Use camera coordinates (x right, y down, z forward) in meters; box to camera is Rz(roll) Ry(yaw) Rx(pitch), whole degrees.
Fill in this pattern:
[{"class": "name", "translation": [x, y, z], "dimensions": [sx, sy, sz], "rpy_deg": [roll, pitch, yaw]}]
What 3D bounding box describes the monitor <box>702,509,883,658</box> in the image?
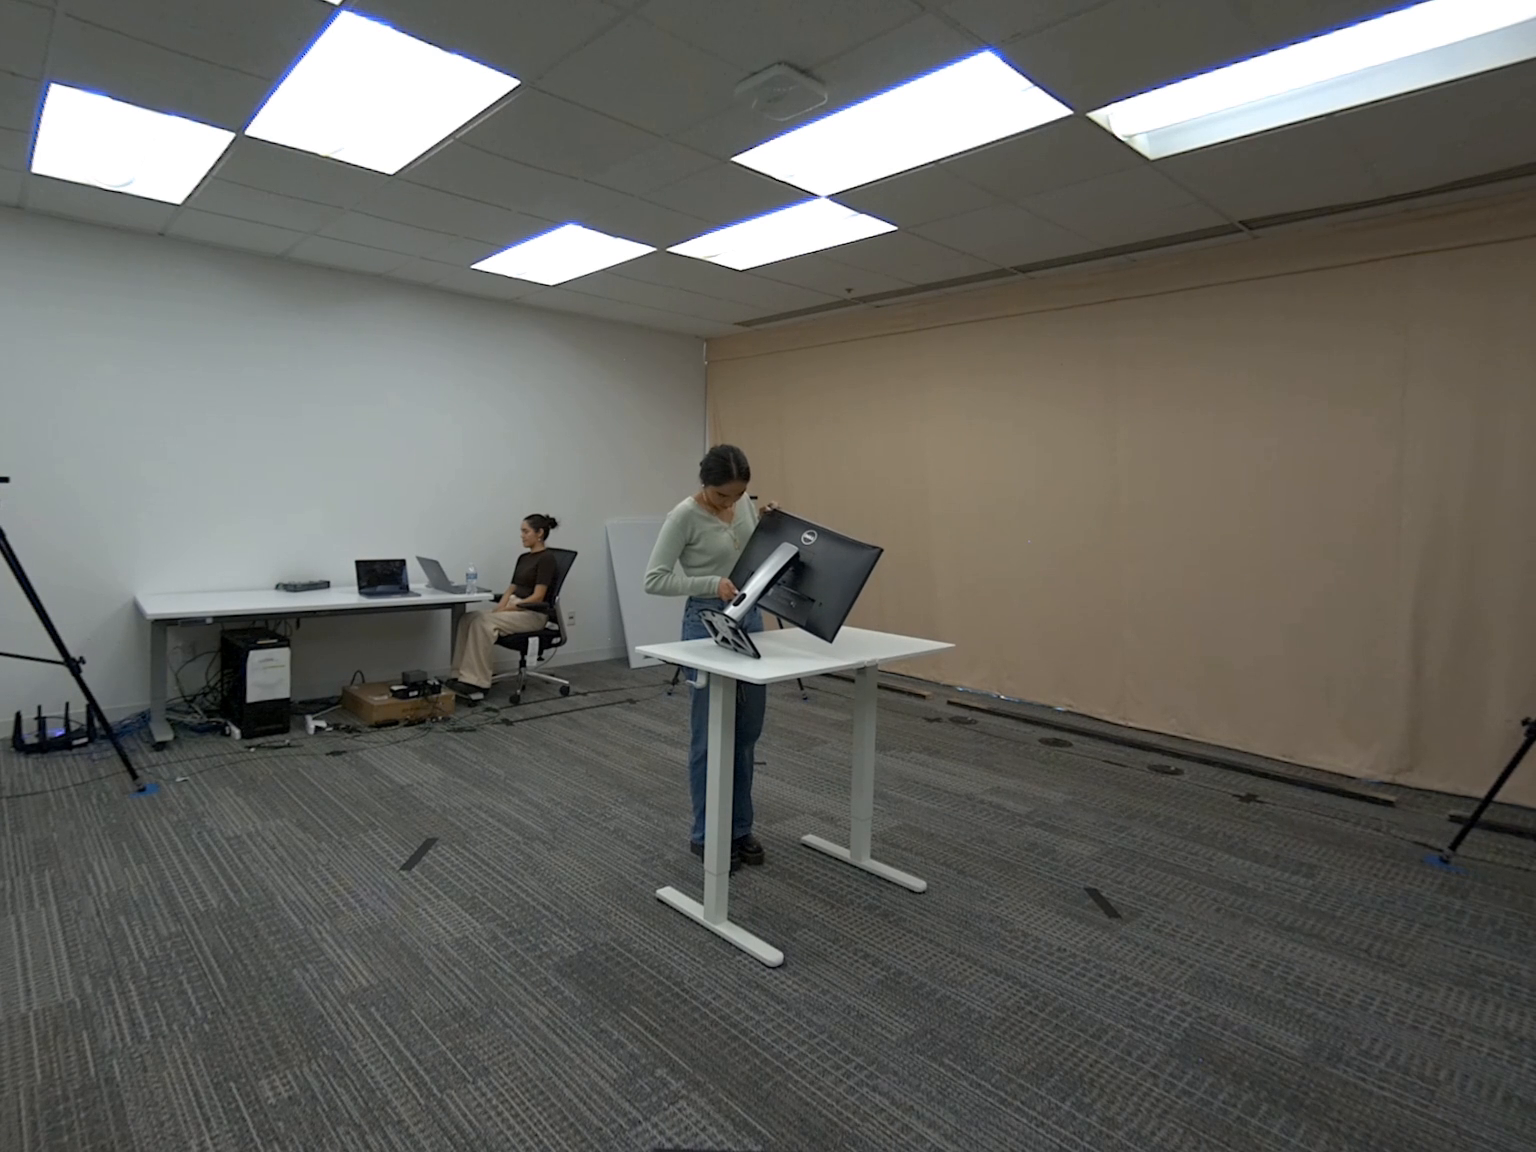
[{"class": "monitor", "translation": [0.028, 0.029, 2.826], "dimensions": [0.556, 0.523, 0.181], "rpy_deg": [24, -24, 43]}]
